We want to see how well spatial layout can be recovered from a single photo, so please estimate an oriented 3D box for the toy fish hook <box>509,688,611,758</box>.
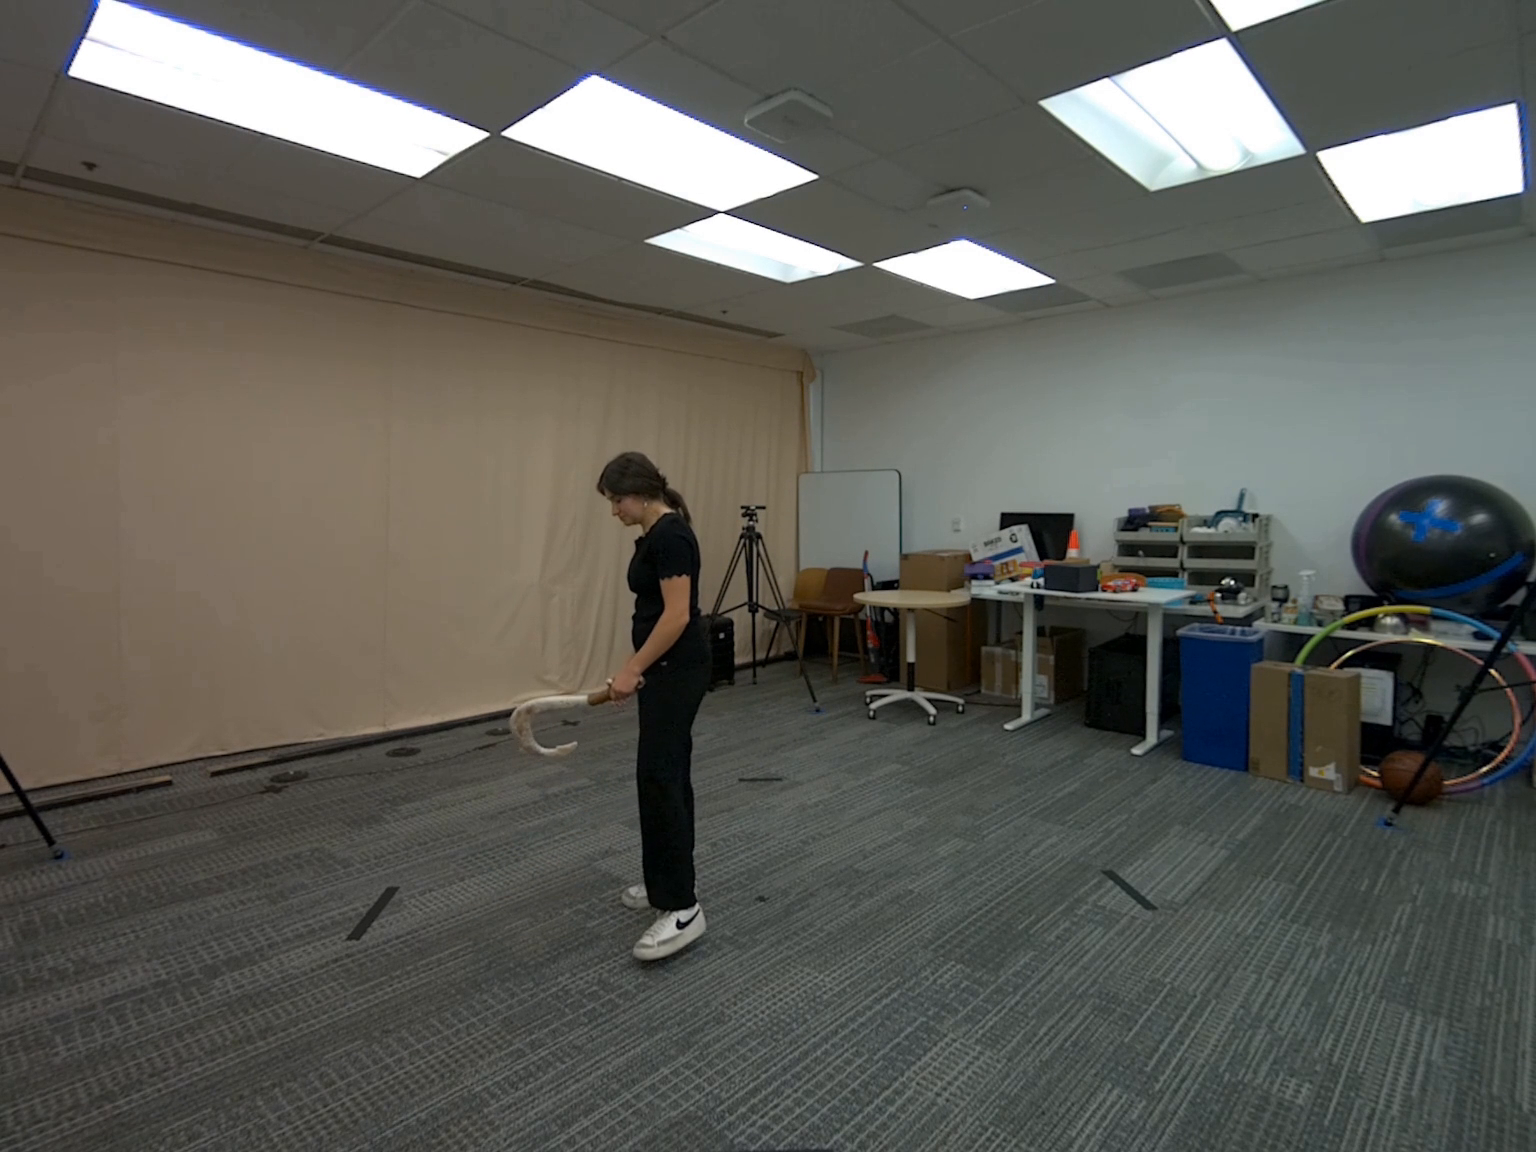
[{"bbox_3d":[-0.618,0.475,2.795,0.511,0.223,0.048,-20,8,11],"label":"toy fish hook"}]
